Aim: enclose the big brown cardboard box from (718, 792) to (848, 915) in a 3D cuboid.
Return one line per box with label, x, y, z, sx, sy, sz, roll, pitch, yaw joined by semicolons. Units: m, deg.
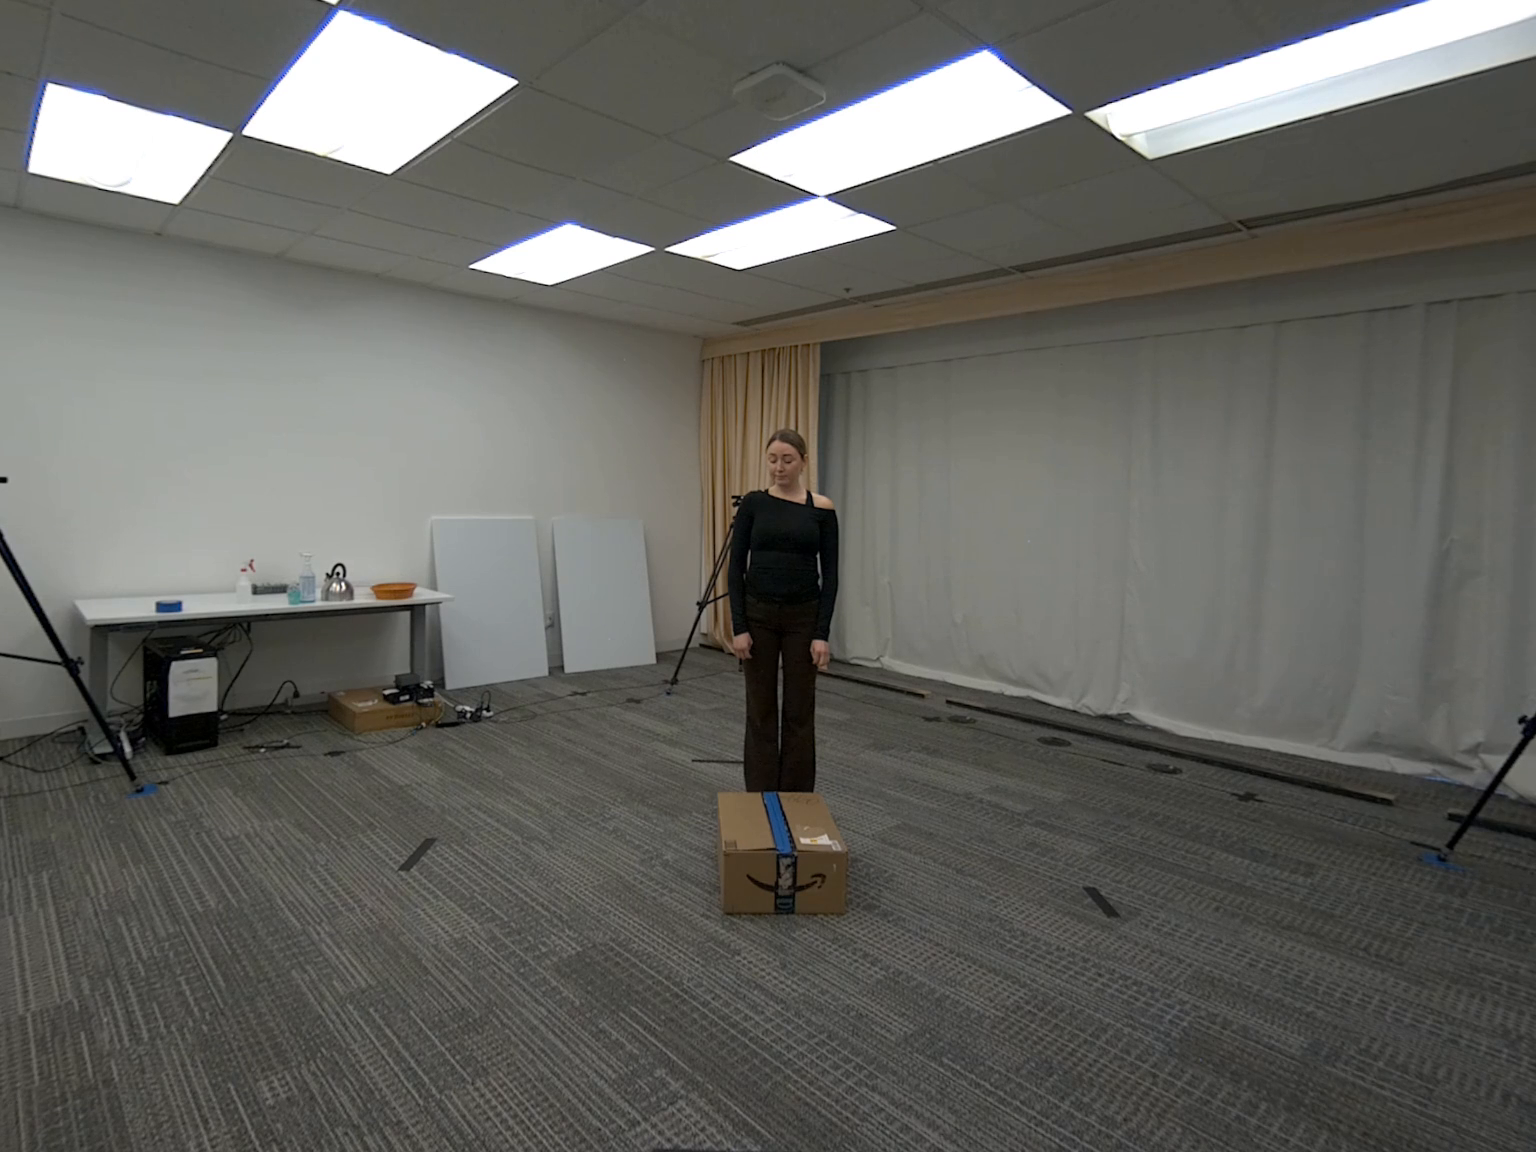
big brown cardboard box;0.021;0.995;3.075;0.416;0.232;0.592;1;4;-5
